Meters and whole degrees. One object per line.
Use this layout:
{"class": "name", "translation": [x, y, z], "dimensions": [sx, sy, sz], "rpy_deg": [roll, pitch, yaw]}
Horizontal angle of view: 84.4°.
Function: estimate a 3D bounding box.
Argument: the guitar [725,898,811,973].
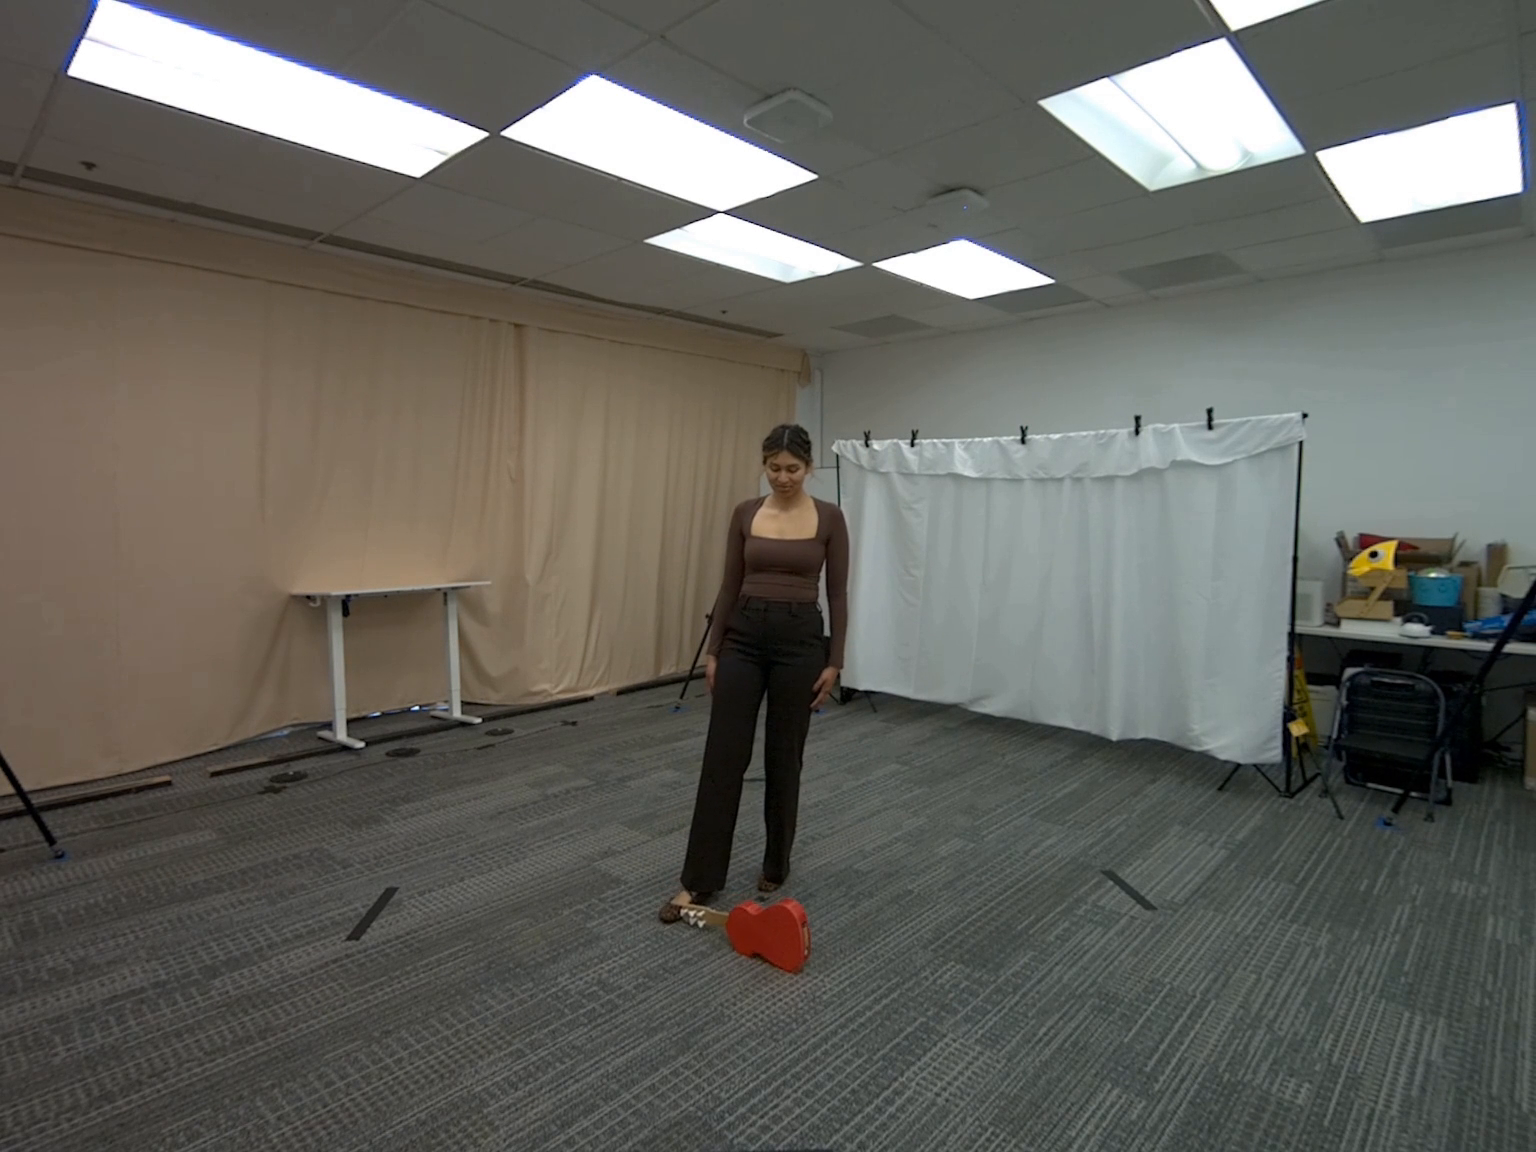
{"class": "guitar", "translation": [-0.082, 1.130, 2.652], "dimensions": [0.509, 0.194, 0.068], "rpy_deg": [-18, -11, 34]}
